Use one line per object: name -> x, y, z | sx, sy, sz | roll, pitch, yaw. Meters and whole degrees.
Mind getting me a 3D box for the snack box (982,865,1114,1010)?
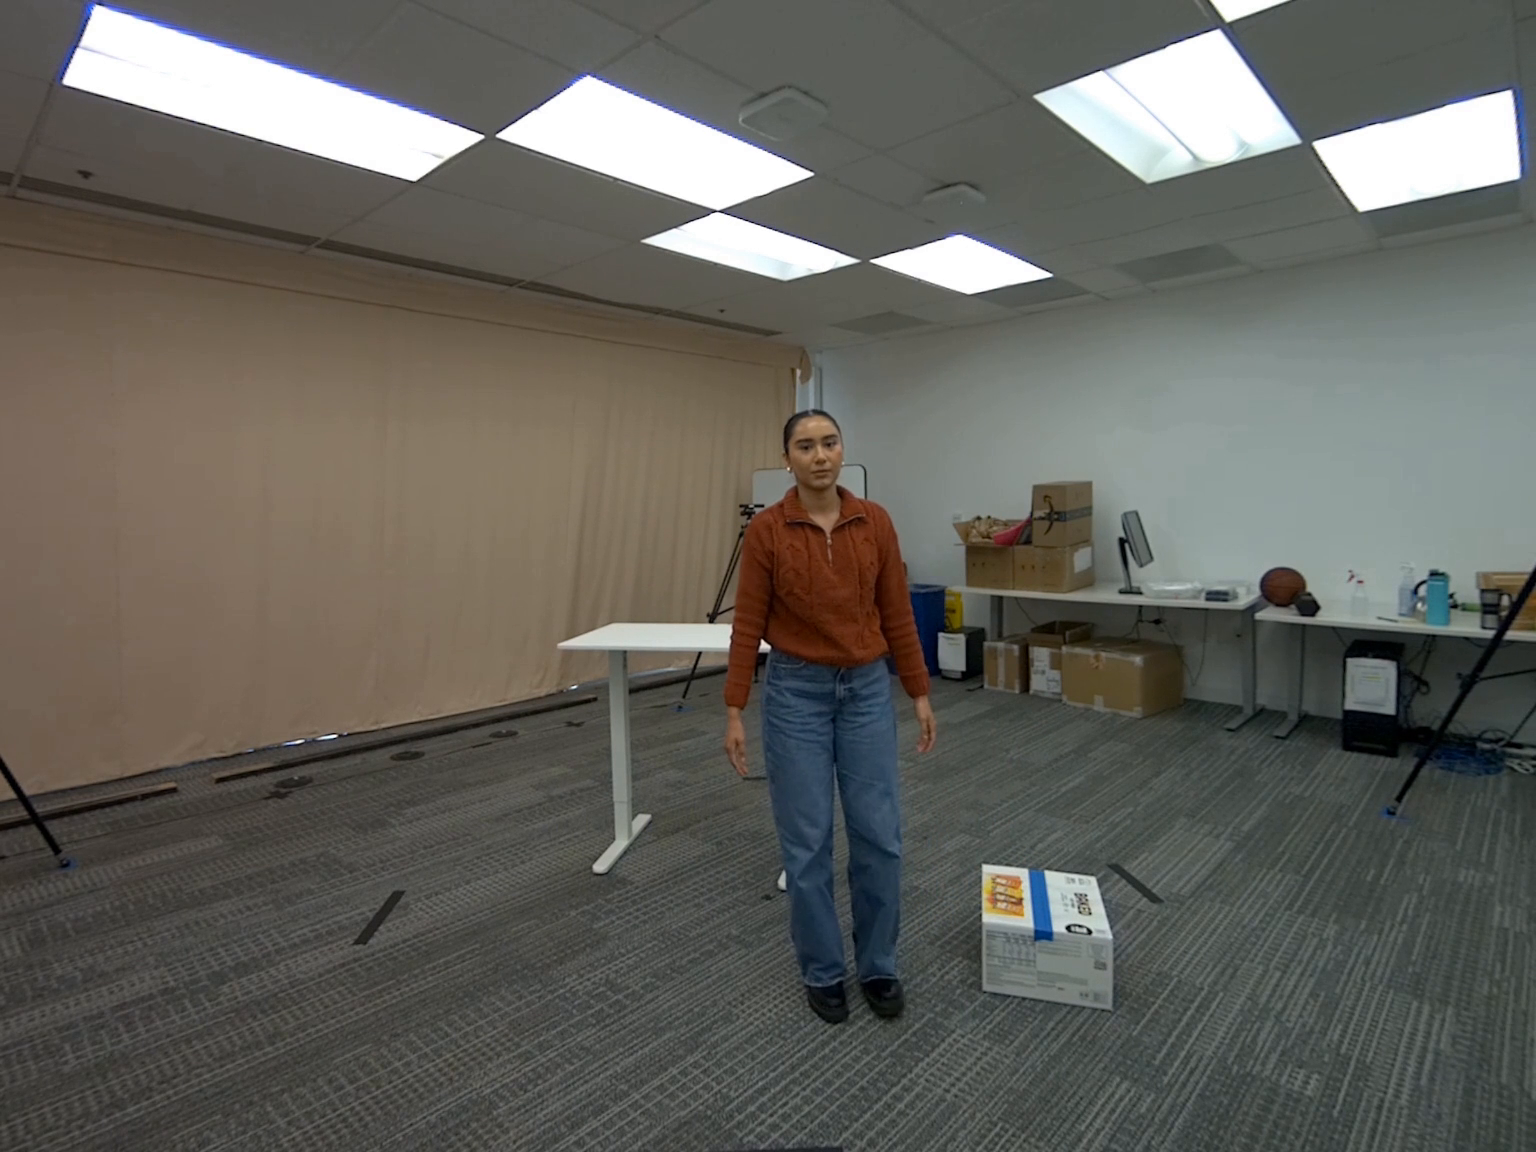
snack box -> 0.829, 1.064, 2.516 | 0.346, 0.205, 0.399 | 0, 4, 16
